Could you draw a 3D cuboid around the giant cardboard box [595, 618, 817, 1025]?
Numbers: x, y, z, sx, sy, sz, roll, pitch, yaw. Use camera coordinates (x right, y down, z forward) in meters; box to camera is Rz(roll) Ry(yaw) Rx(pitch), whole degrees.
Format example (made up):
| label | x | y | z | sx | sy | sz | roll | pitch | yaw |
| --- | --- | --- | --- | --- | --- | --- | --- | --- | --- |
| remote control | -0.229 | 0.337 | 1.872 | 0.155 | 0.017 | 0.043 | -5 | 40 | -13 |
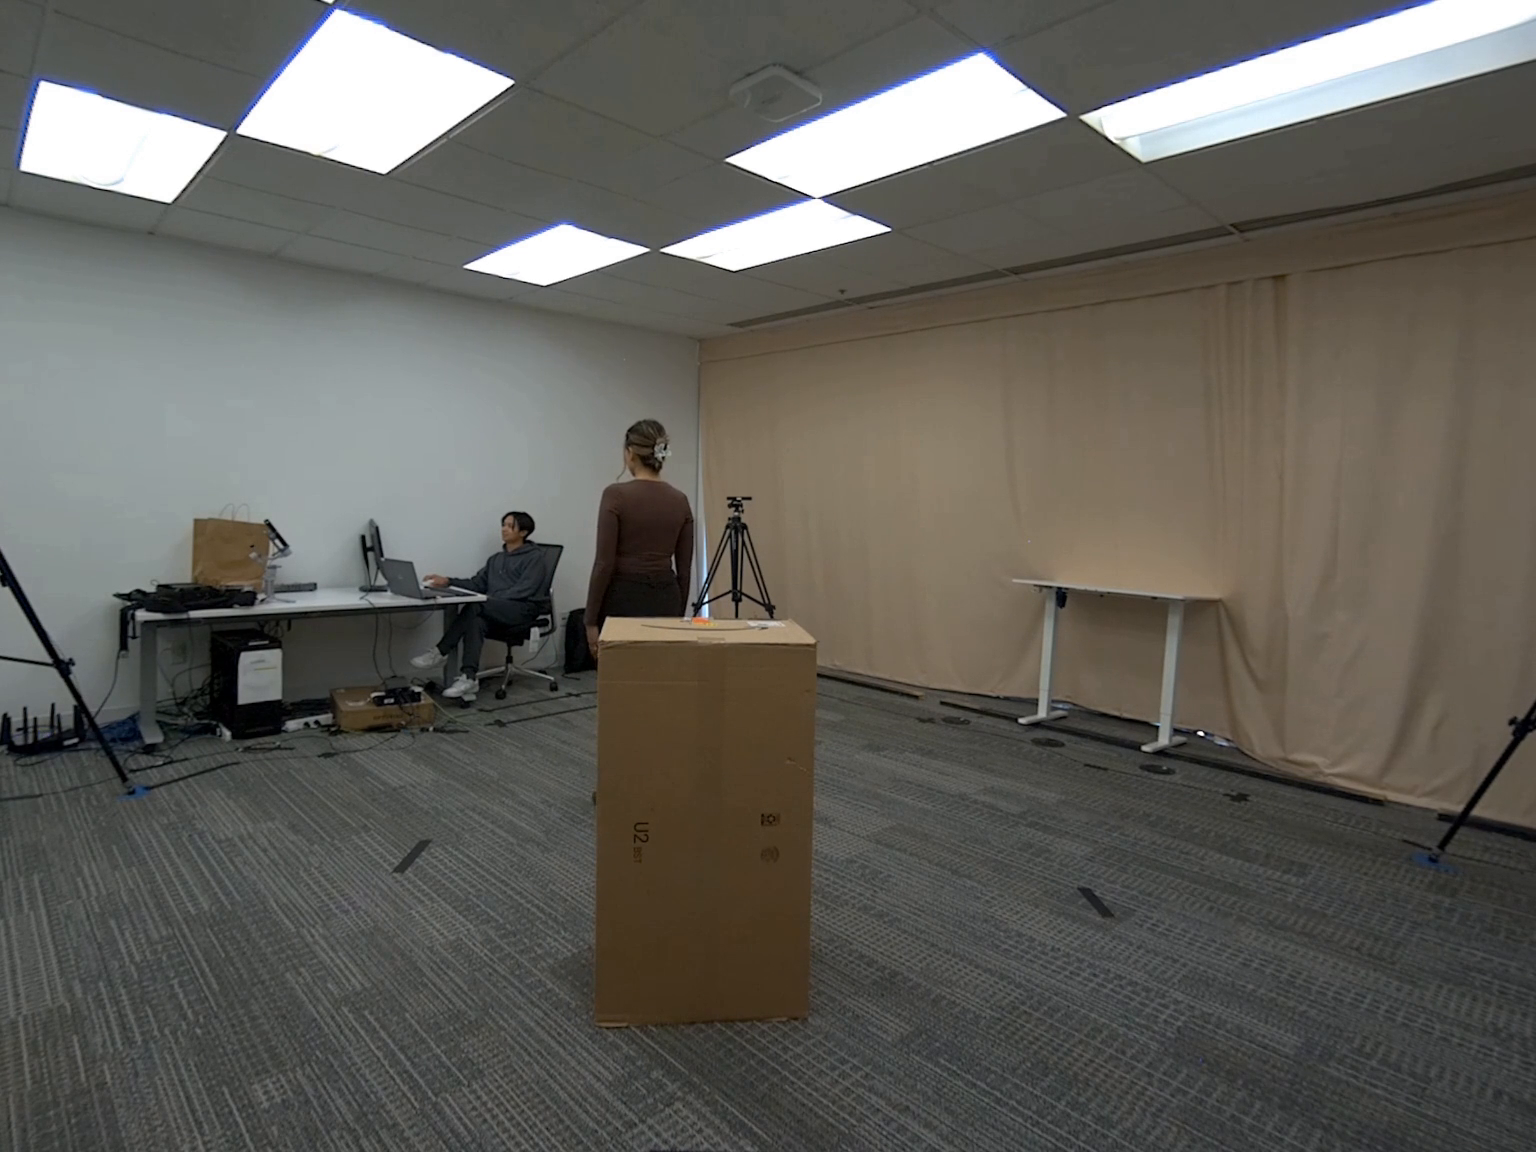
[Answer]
| label | x | y | z | sx | sy | sz | roll | pitch | yaw |
| --- | --- | --- | --- | --- | --- | --- | --- | --- | --- |
| giant cardboard box | -0.197 | 0.655 | 2.405 | 0.581 | 1.025 | 0.450 | 1 | 3 | -6 |
